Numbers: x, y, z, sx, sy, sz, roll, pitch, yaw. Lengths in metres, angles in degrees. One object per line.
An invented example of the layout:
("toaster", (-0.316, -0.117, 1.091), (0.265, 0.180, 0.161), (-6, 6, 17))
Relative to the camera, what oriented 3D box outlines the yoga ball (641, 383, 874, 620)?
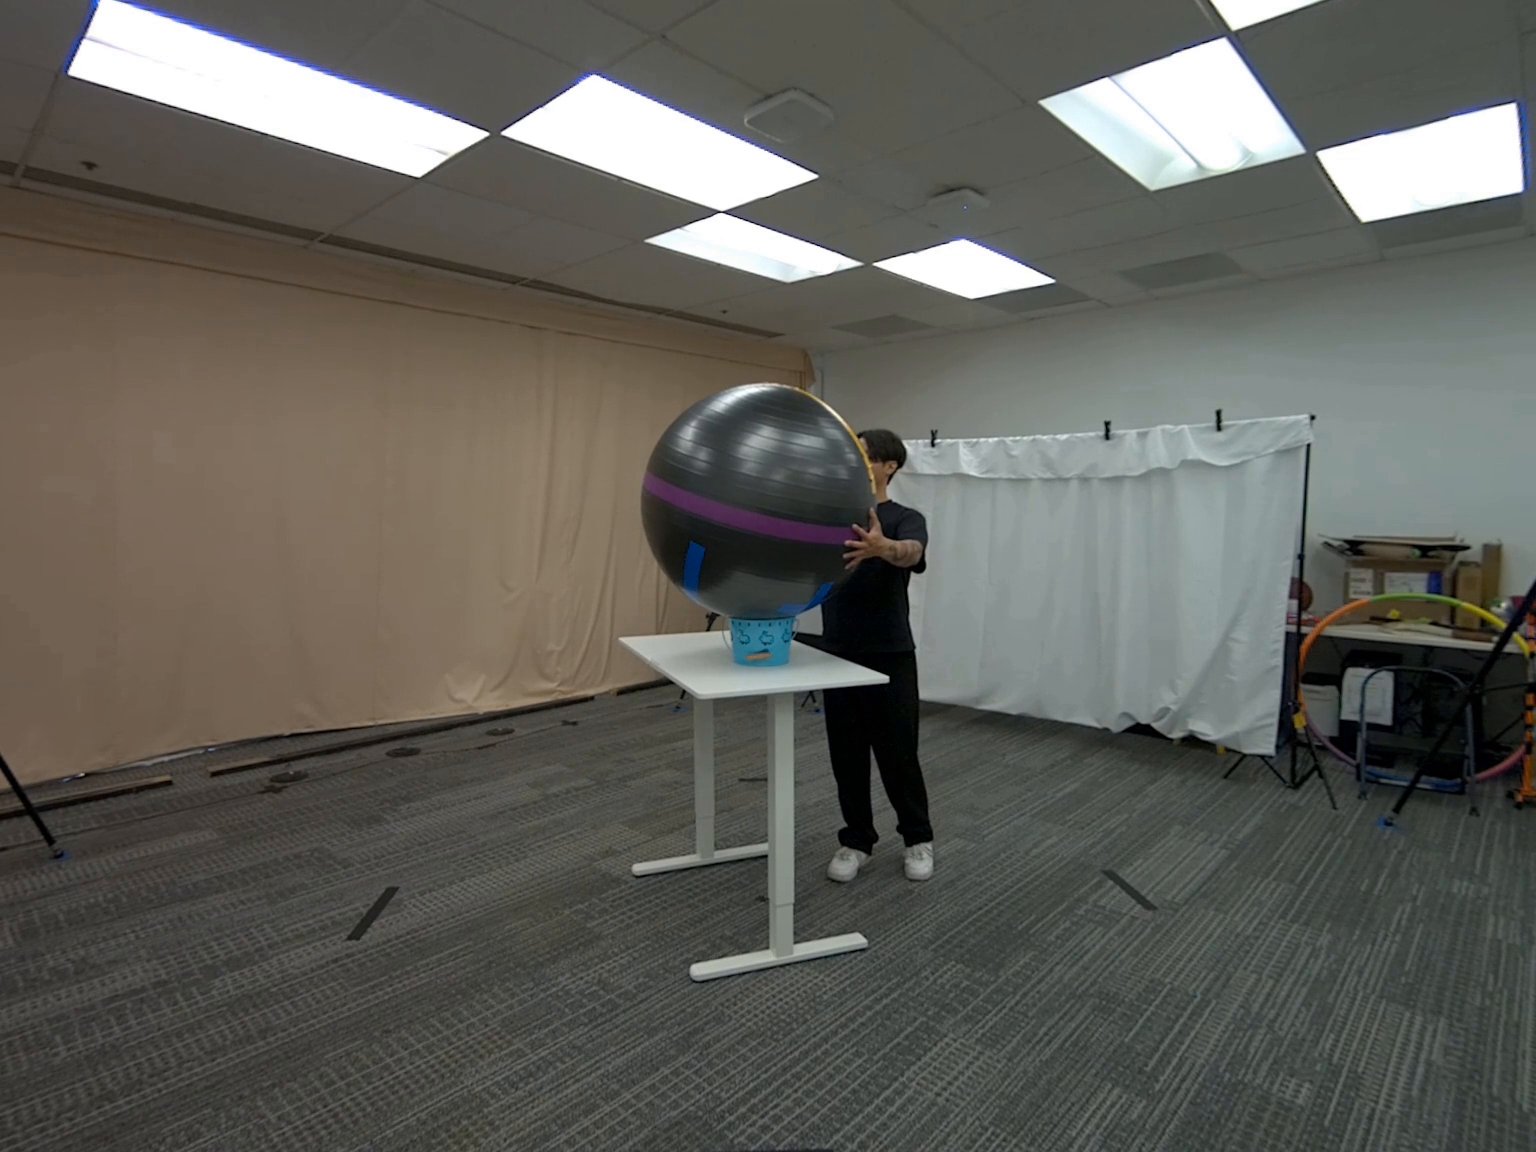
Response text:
("yoga ball", (-0.027, -0.236, 2.737), (0.757, 0.756, 0.760), (0, 4, -2))
